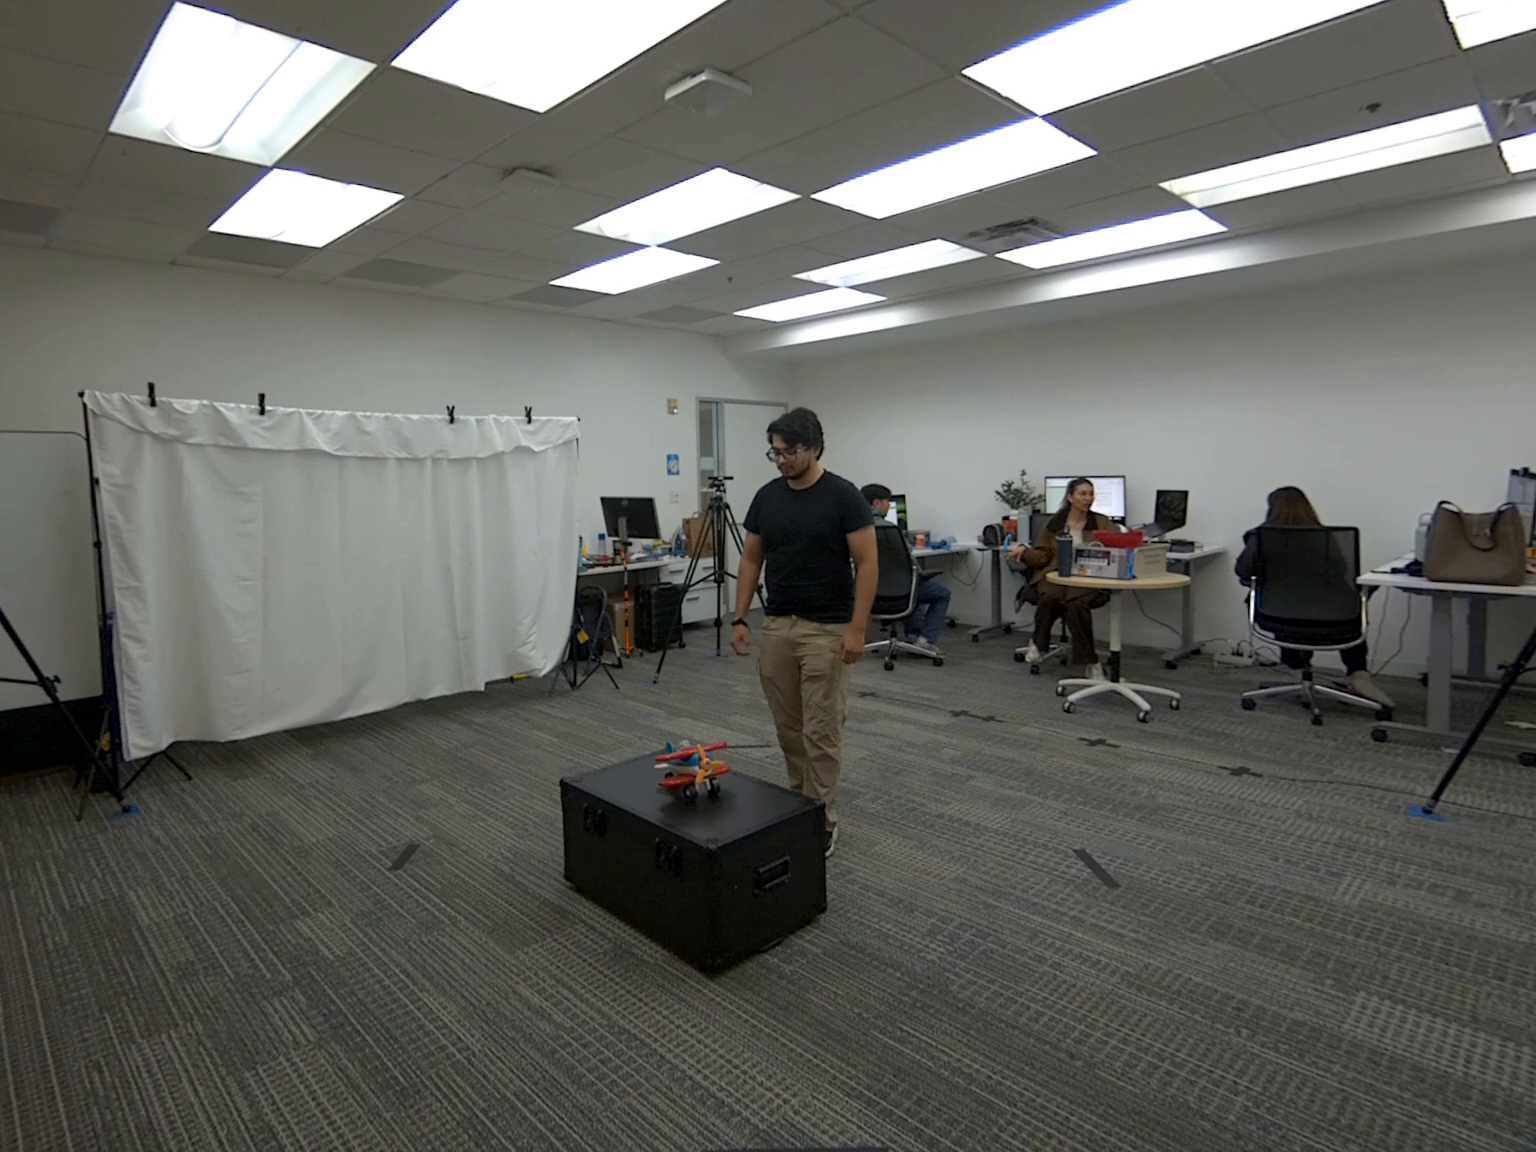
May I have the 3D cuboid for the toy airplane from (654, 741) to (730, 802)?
[{"bbox_3d":[-0.271,0.626,2.792,0.266,0.155,0.246,4,8,26],"label":"toy airplane"}]
